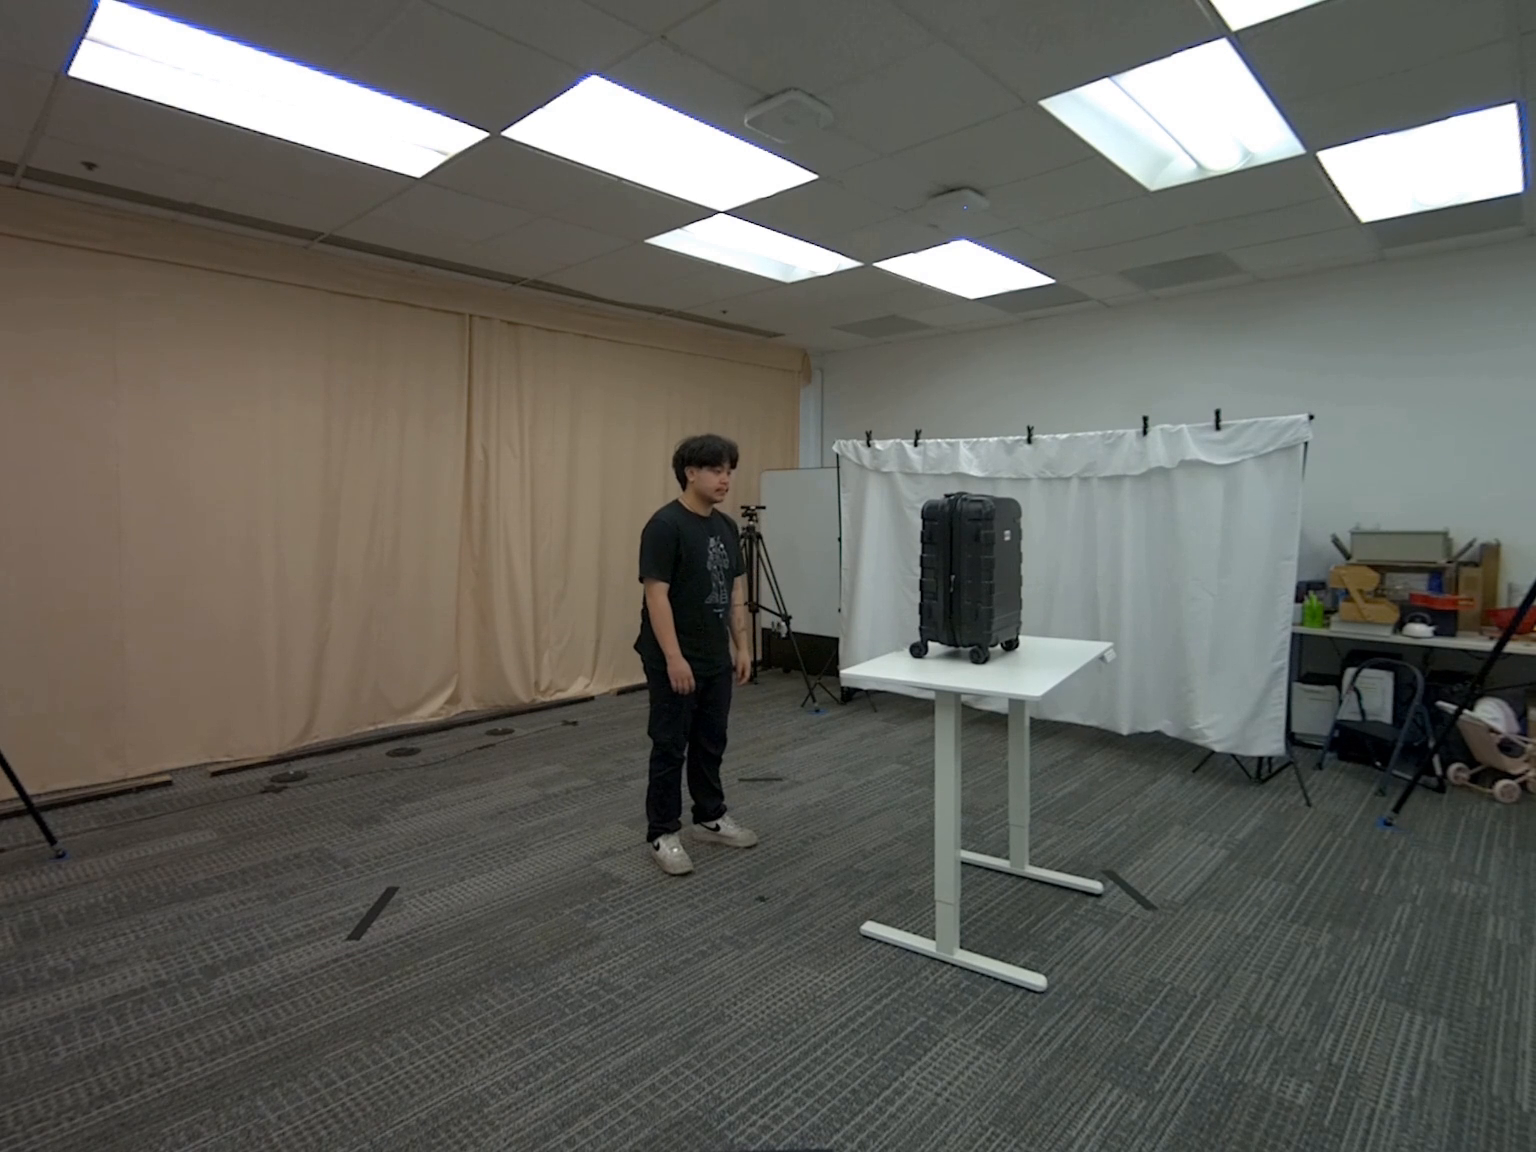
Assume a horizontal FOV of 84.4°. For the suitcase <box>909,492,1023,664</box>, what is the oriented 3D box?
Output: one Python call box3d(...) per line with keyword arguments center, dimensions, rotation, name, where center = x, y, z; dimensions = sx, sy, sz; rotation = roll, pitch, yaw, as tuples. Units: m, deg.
box3d(center=(0.694, -0.007, 2.857), dimensions=(0.256, 0.548, 0.364), rotation=(3, 5, 35), name="suitcase")
